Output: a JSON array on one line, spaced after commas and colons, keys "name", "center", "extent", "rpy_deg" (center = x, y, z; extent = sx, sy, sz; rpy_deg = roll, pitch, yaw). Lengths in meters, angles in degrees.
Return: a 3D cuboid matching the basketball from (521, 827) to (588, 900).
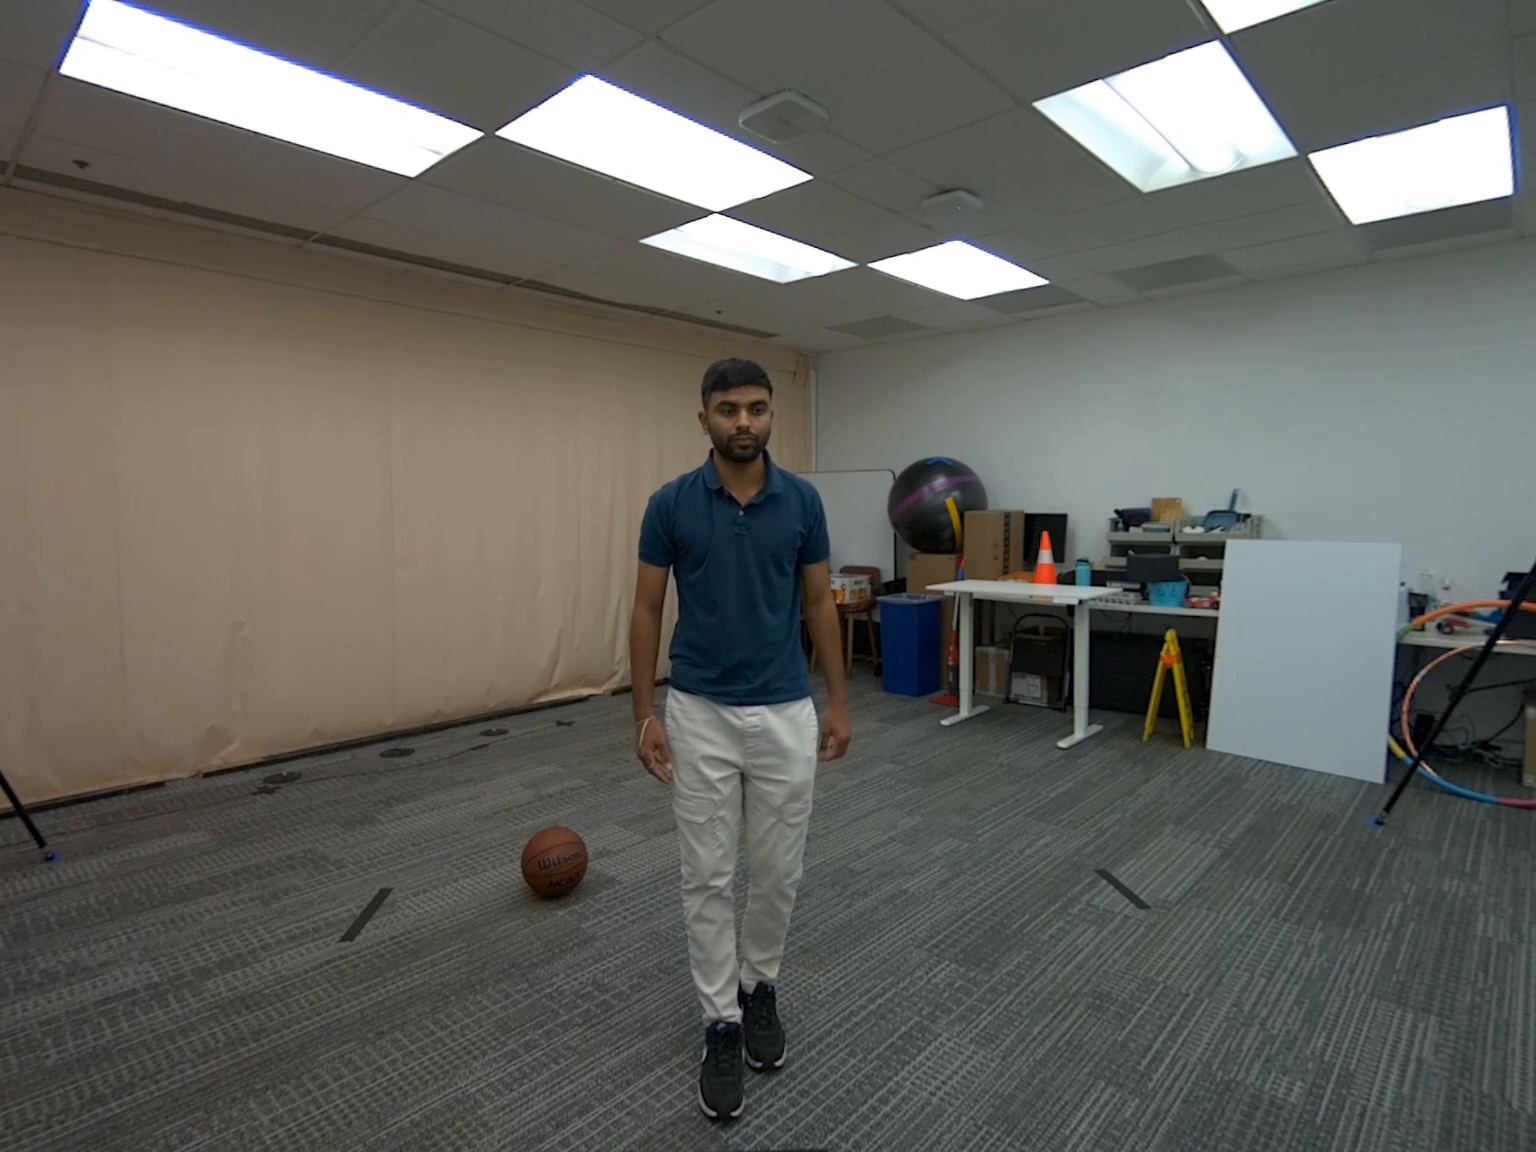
[{"name": "basketball", "center": [-0.766, 1.025, 3.034], "extent": [0.236, 0.235, 0.237], "rpy_deg": [0, 4, -2]}]
